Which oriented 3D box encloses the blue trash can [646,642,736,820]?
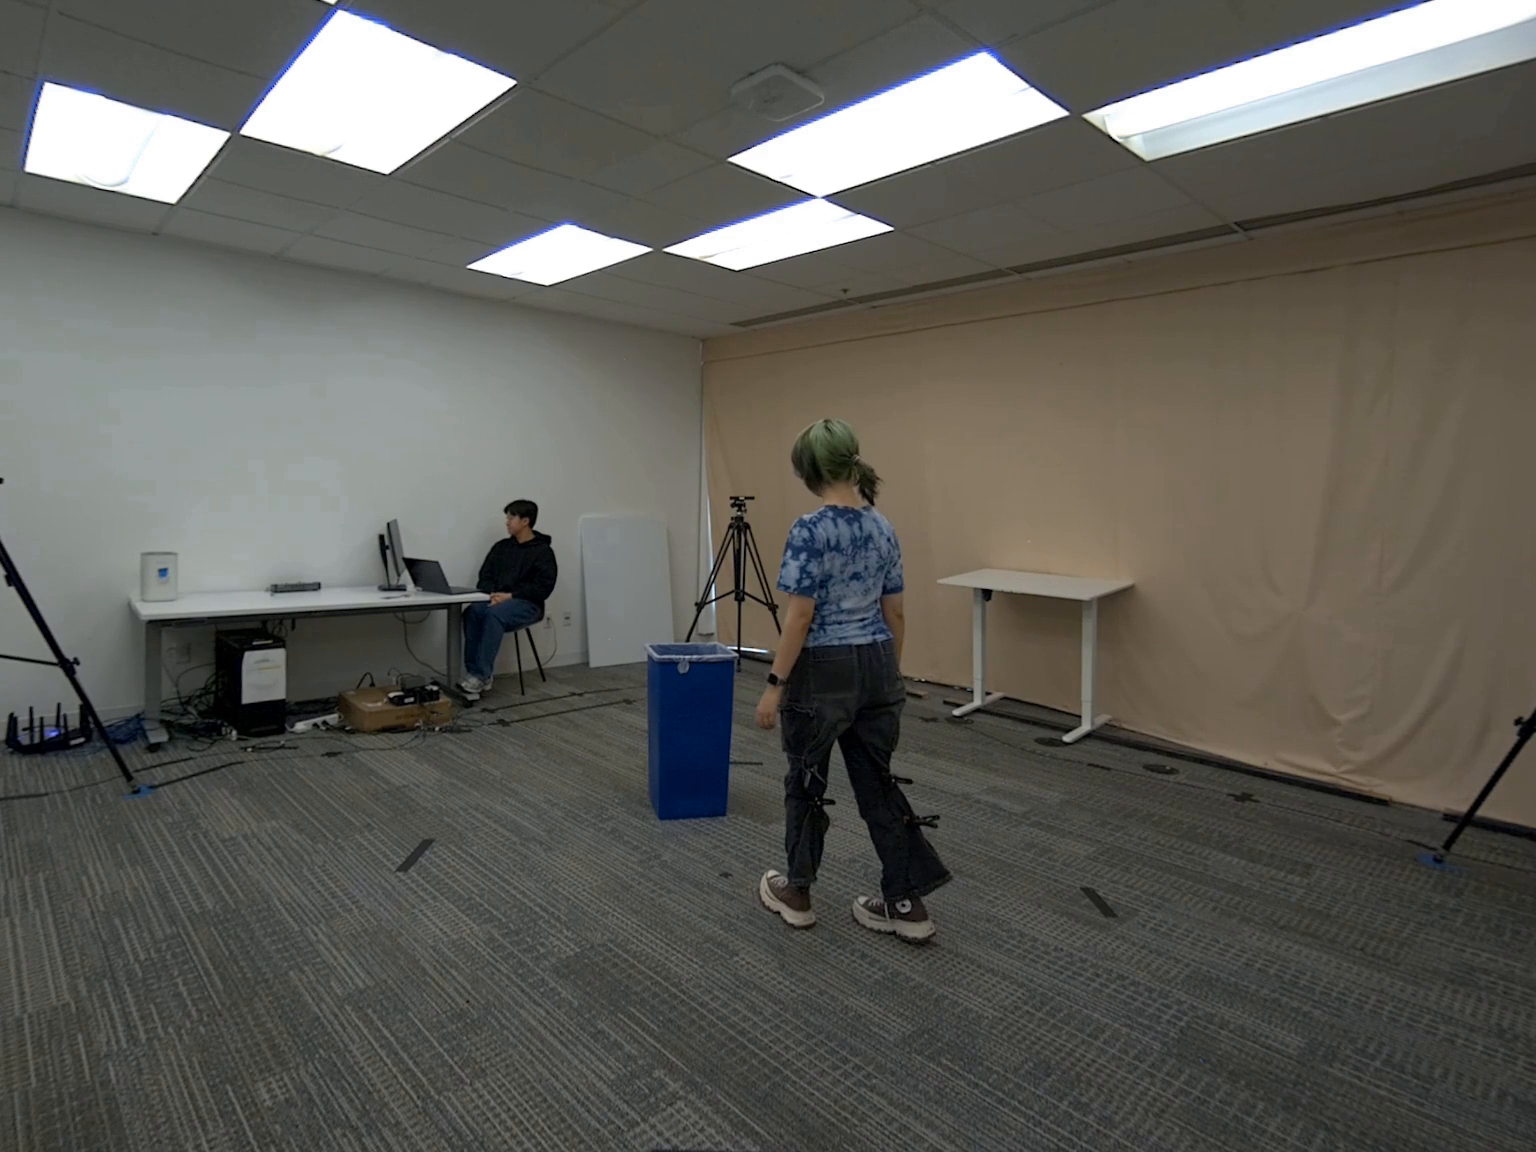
[{"bbox_3d":[-0.371,0.683,3.788,0.373,0.712,0.379,1,3,-16],"label":"blue trash can"}]
